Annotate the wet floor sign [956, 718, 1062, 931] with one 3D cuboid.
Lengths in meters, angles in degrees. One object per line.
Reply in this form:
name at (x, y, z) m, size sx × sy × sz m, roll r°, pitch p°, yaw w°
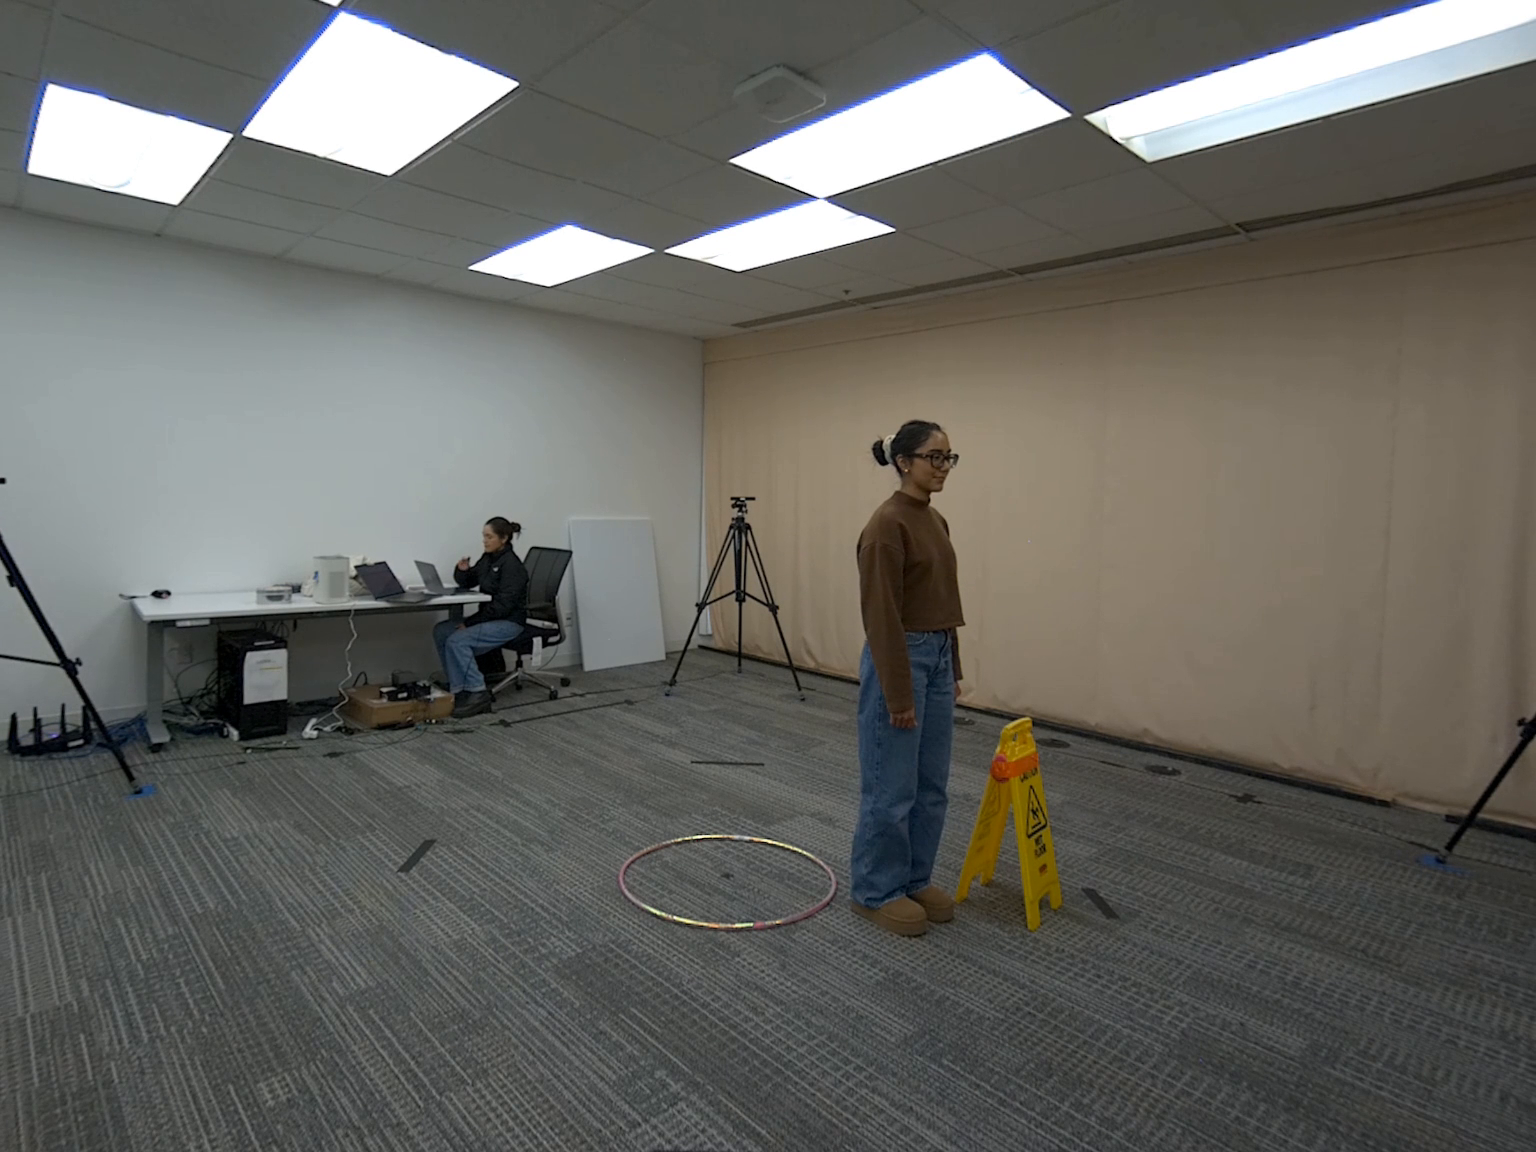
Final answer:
wet floor sign at (0.851, 0.826, 2.930) m, size 0.297 × 0.644 × 0.276 m, roll 4°, pitch 5°, yaw 40°
